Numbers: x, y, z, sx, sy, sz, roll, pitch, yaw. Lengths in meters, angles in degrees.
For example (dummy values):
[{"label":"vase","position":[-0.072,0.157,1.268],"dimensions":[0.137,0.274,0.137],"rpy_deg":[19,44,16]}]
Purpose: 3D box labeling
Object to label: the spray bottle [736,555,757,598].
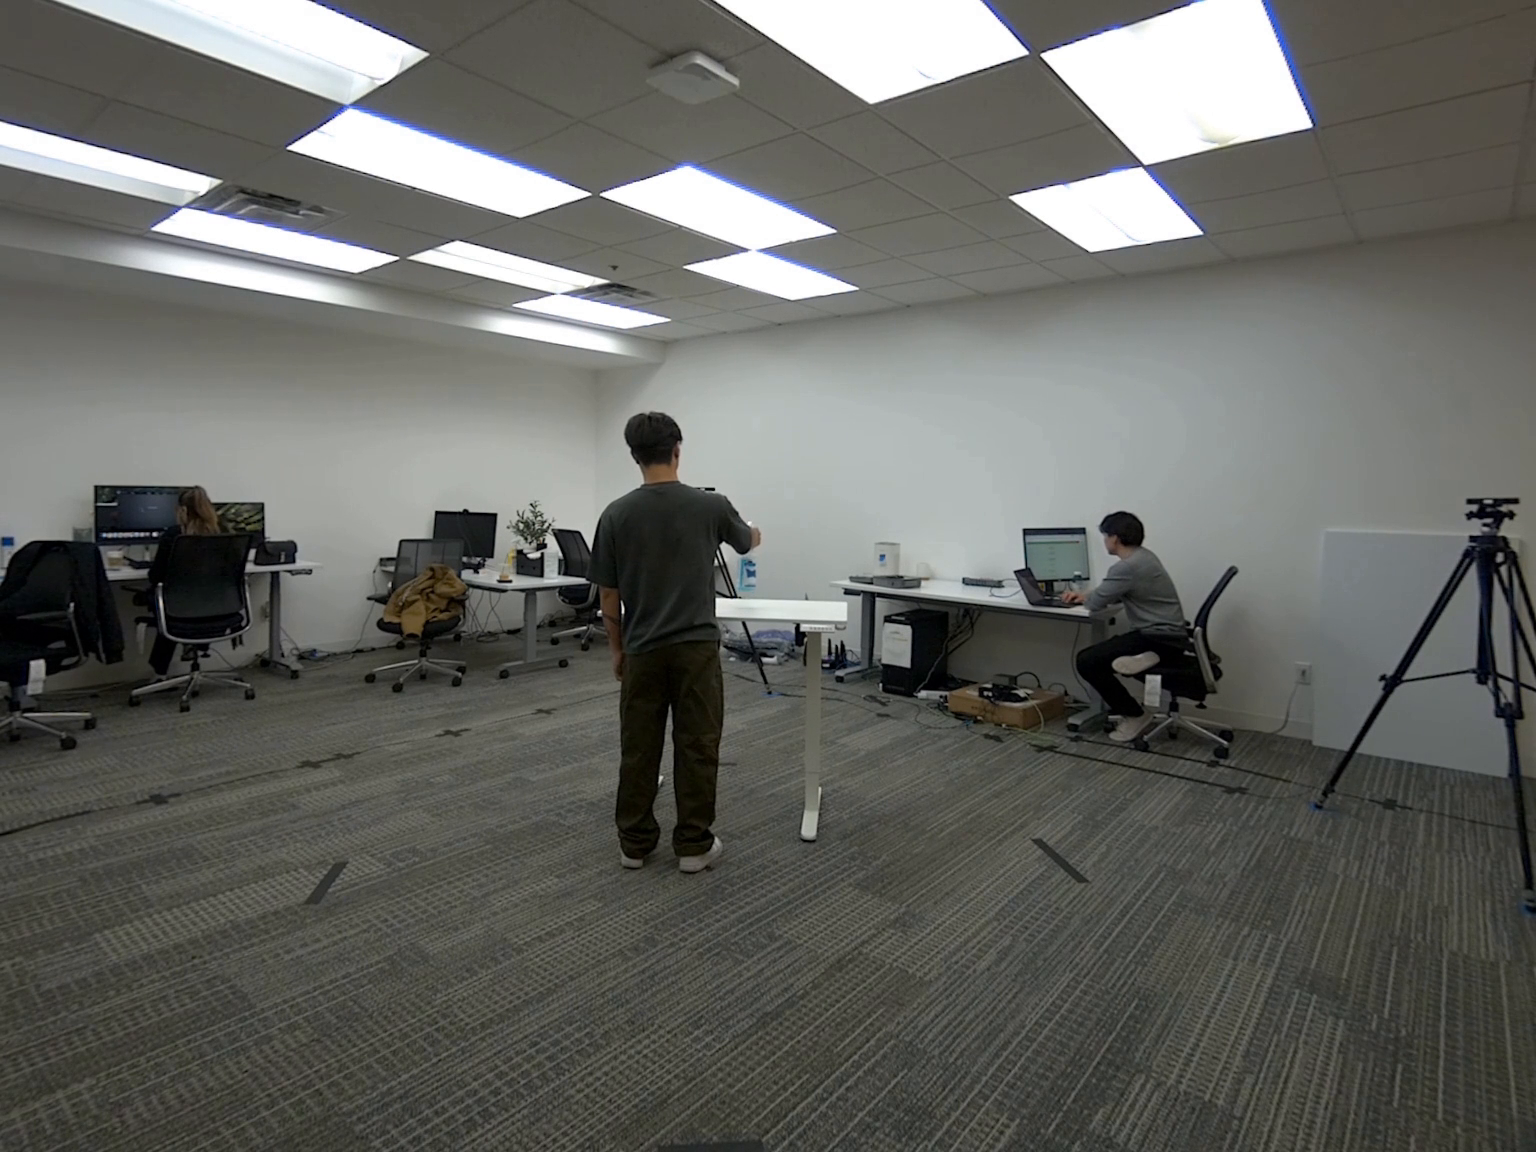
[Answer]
[{"label":"spray bottle","position":[-0.096,-0.090,3.656],"dimensions":[0.090,0.296,0.087],"rpy_deg":[5,3,31]}]
